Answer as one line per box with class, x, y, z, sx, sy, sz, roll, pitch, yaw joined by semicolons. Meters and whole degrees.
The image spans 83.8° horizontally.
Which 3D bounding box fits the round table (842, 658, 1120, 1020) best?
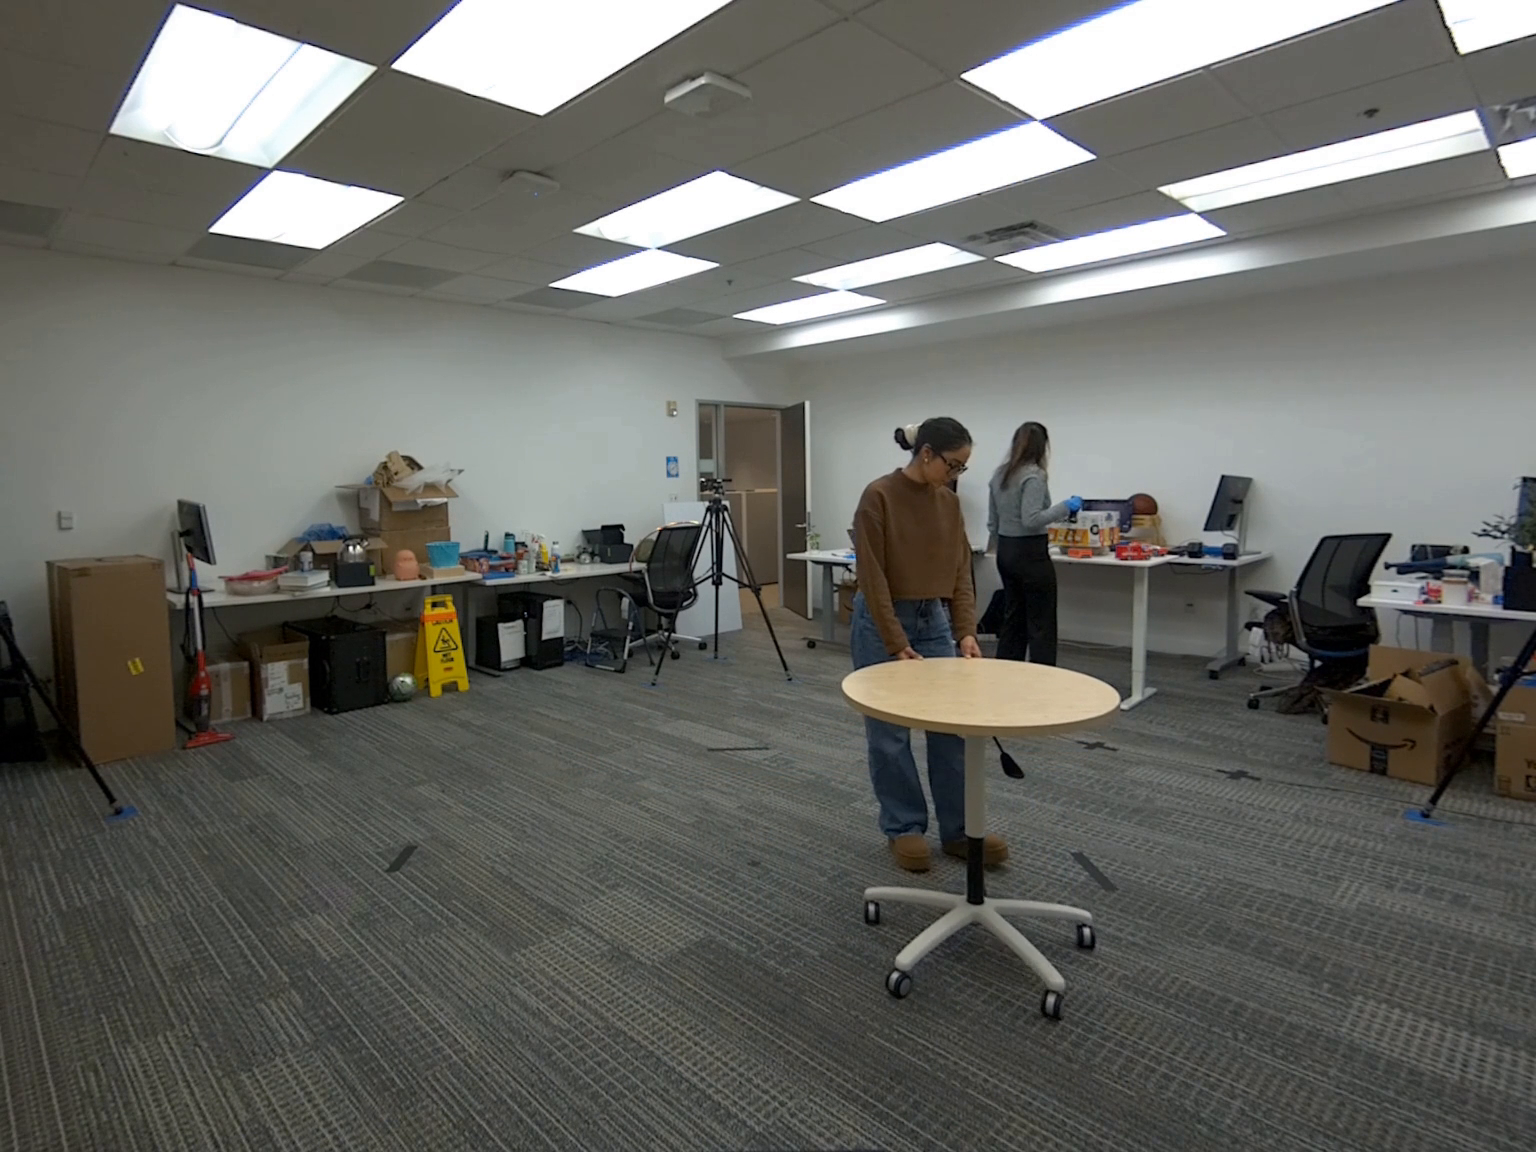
round table;0.607;0.717;2.500;0.763;0.791;0.768;-1;5;-2
